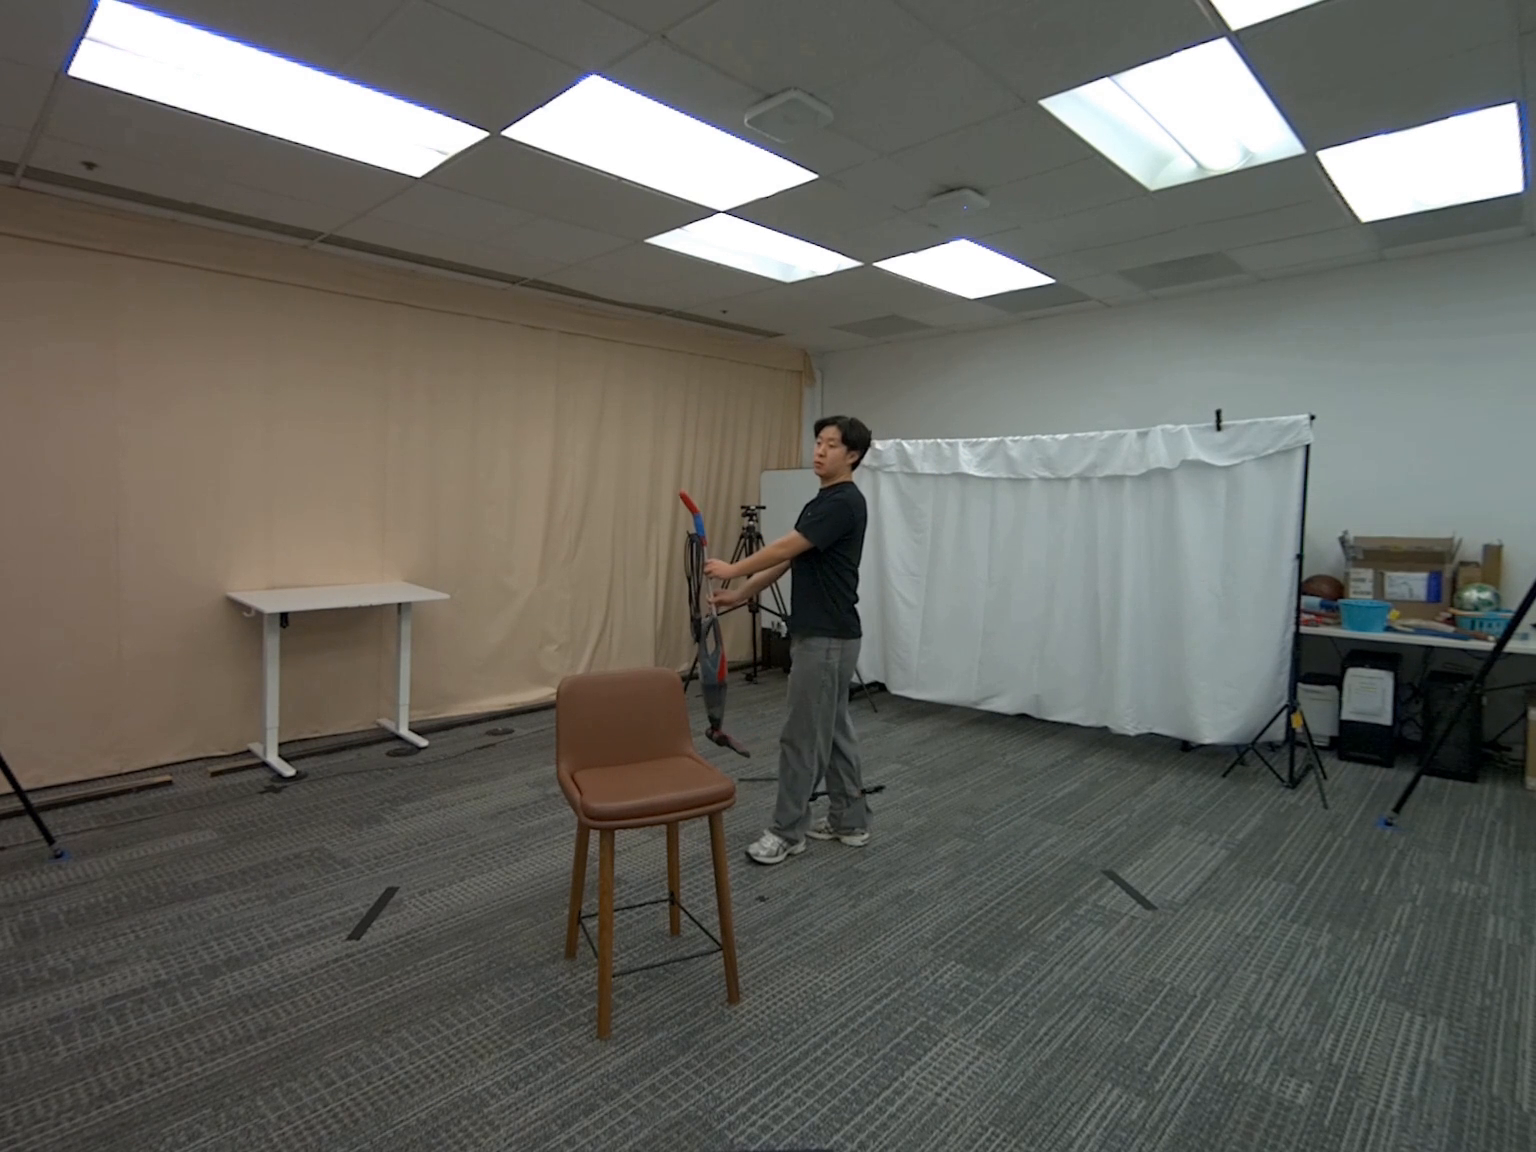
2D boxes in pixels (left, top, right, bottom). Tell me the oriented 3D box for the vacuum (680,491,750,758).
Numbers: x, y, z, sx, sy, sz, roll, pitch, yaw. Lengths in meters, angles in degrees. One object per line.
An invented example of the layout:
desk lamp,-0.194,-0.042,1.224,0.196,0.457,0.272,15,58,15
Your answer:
vacuum,-0.261,0.184,3.445,0.141,1.044,0.259,-12,7,-23
